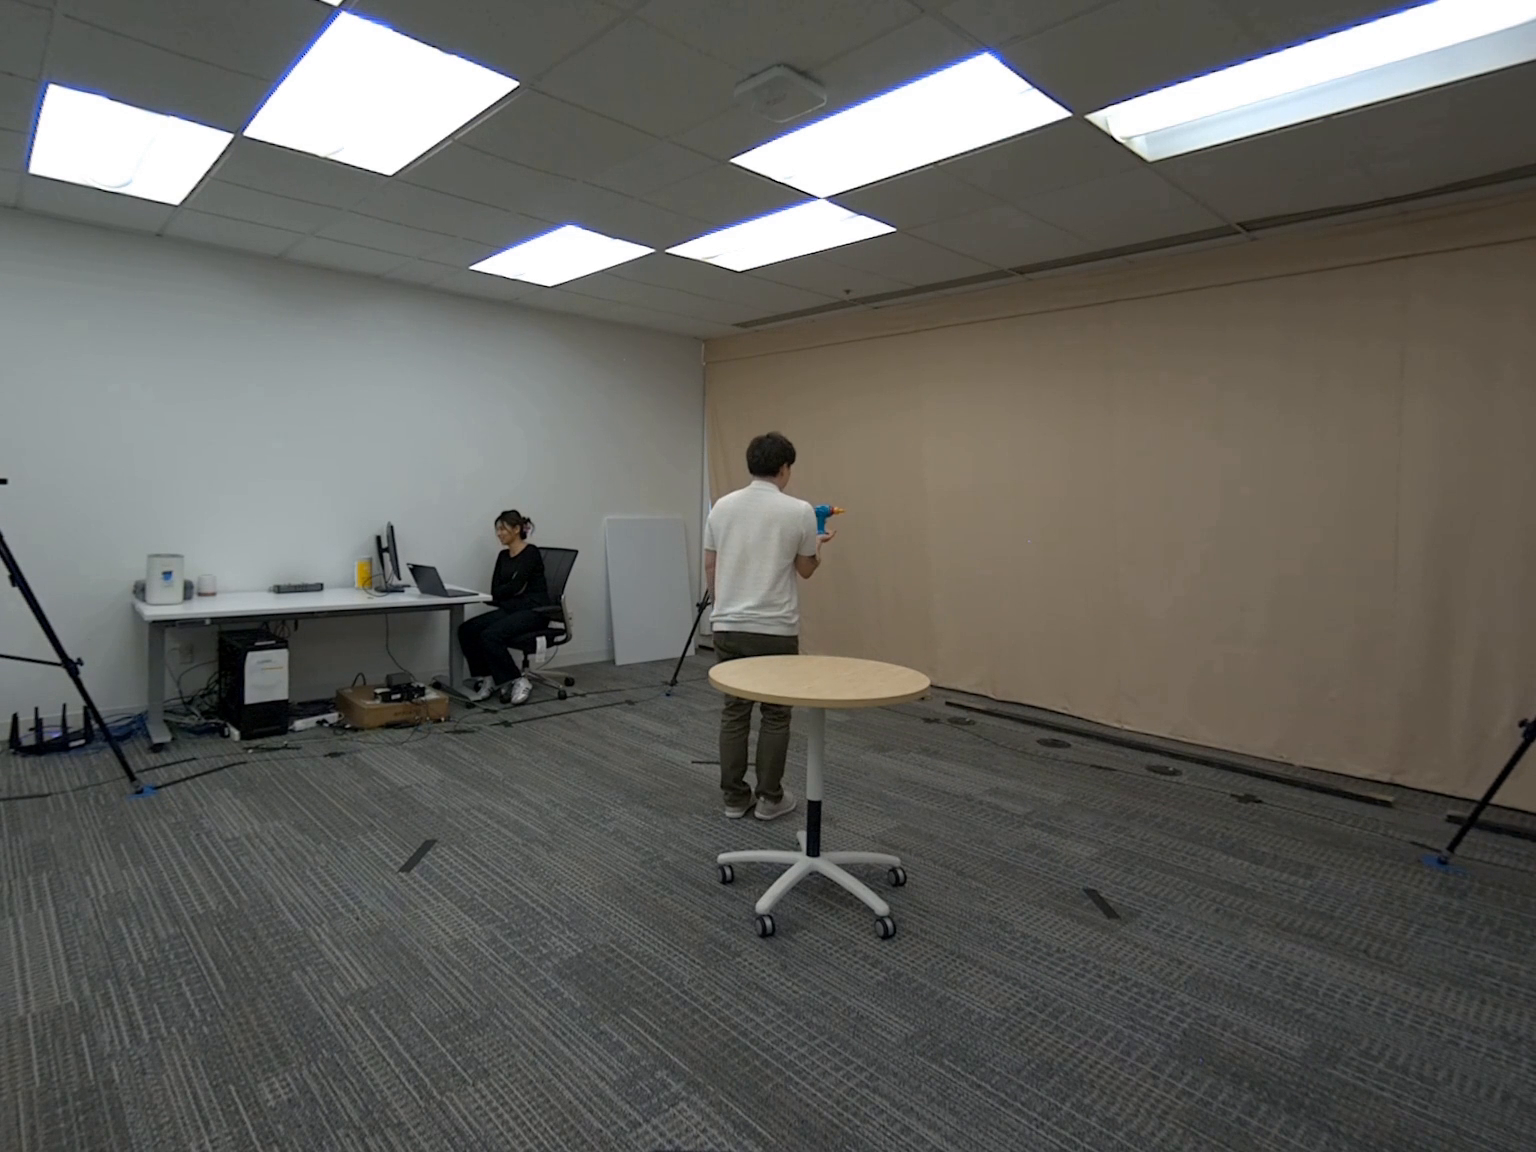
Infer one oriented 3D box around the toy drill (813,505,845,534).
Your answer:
[{"bbox_3d":[0.278,-0.260,3.931,0.171,0.146,0.061,-2,1,8],"label":"toy drill"}]
